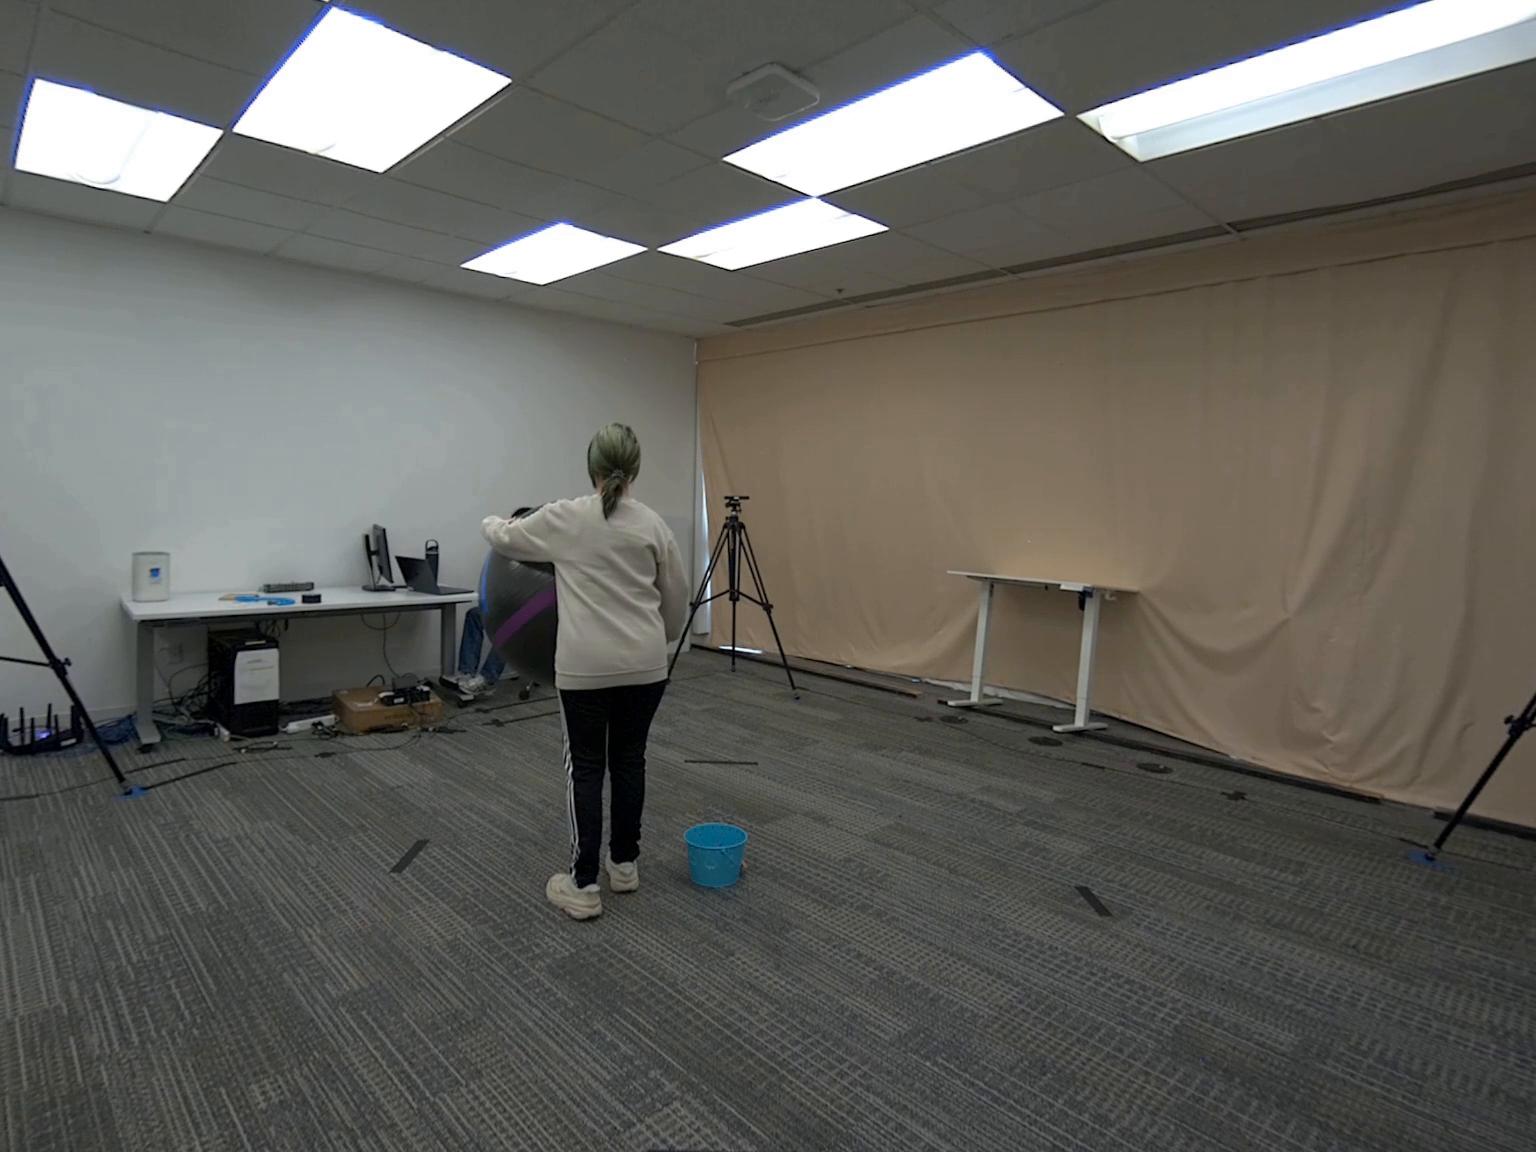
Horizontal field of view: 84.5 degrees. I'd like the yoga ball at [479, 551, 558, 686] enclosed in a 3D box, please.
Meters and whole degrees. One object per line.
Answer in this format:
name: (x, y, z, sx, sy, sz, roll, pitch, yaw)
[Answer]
yoga ball: (-0.799, 0.078, 3.390, 0.757, 0.756, 0.761, 1, 4, -1)
